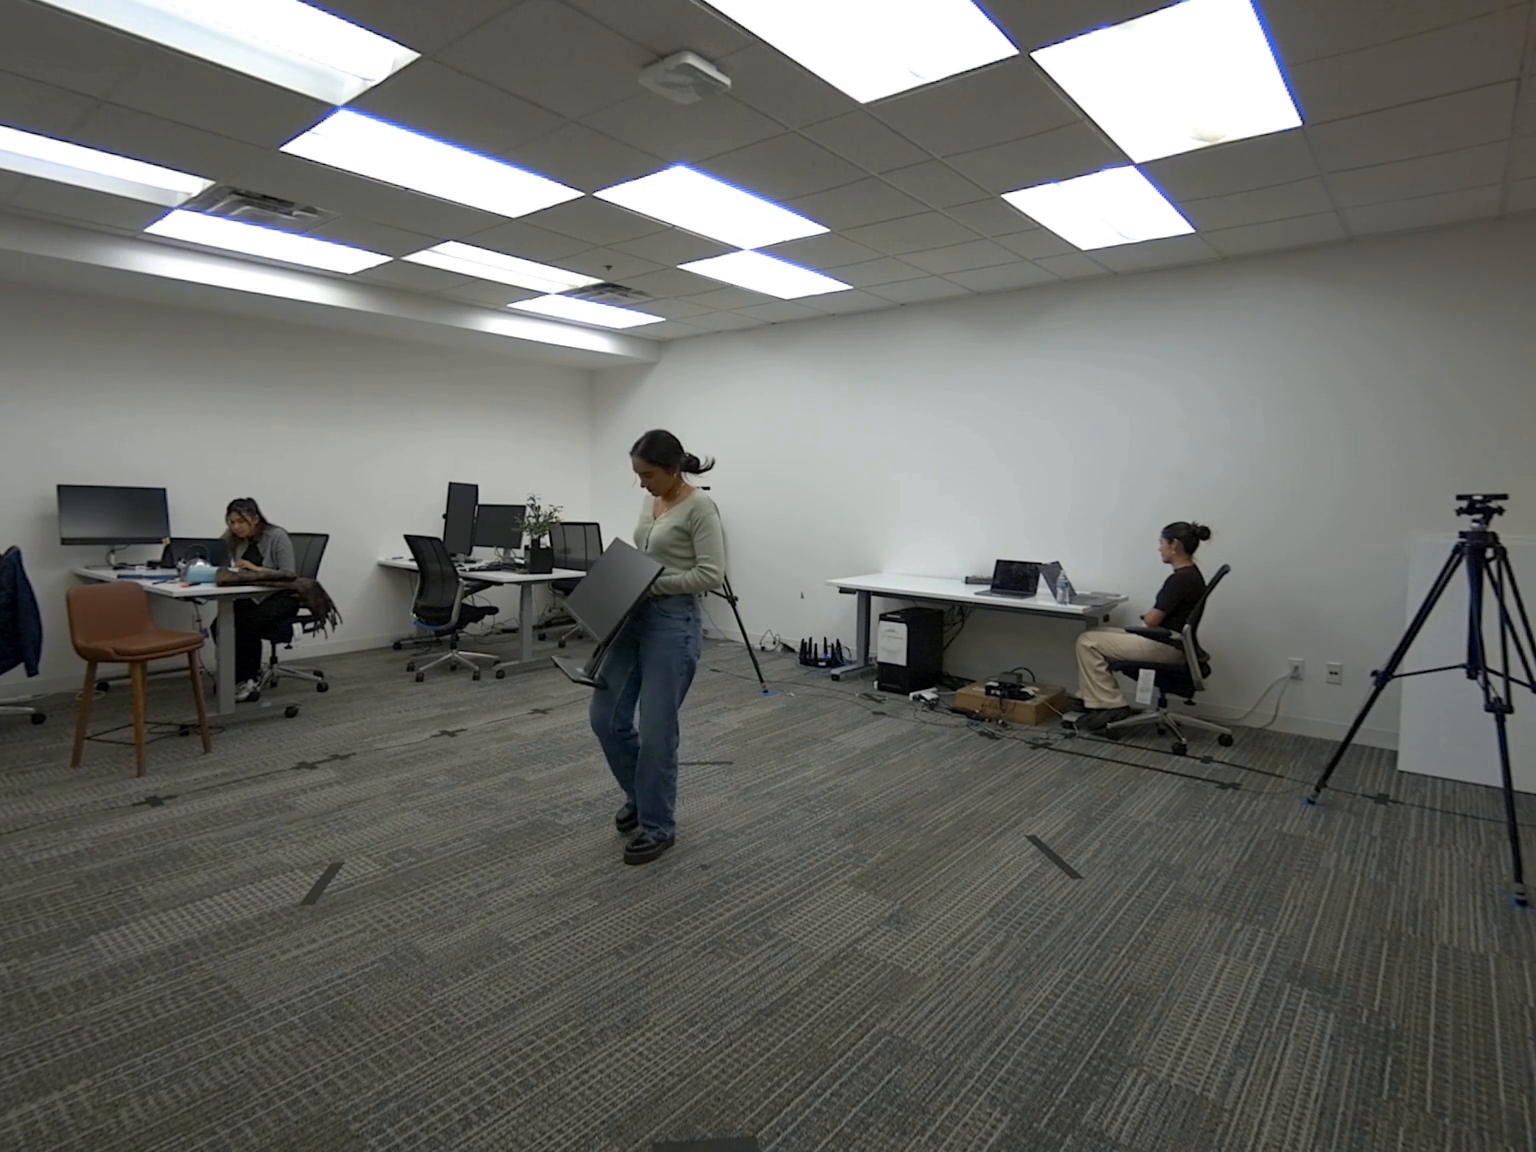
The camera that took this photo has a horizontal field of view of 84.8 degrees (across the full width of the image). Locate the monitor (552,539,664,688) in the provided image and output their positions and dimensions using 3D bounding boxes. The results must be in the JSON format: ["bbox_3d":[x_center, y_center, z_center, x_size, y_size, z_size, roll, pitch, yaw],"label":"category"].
[{"bbox_3d":[-0.626,0.133,3.195,0.169,0.515,0.548,18,4,-29],"label":"monitor"}]
